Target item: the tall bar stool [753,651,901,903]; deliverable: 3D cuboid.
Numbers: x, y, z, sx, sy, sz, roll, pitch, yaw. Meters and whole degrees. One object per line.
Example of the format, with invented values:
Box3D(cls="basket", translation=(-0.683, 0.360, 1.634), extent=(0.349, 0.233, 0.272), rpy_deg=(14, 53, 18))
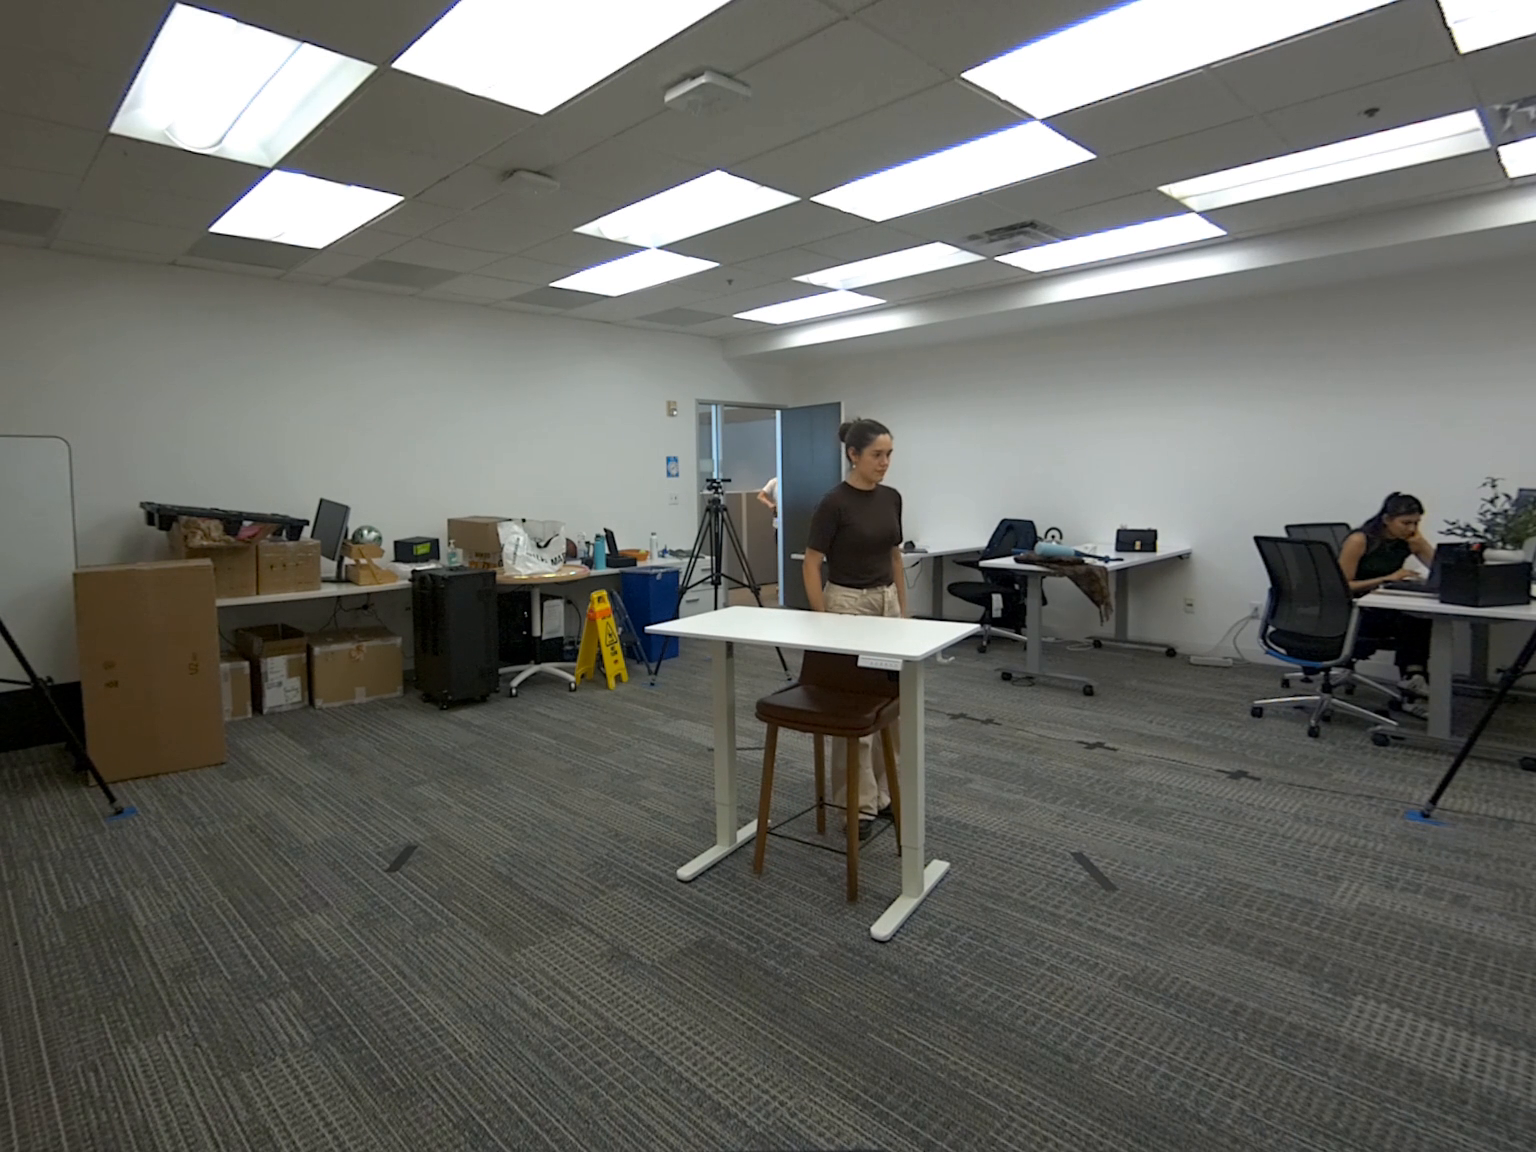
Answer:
Box3D(cls="tall bar stool", translation=(0.237, 0.611, 3.065), extent=(0.469, 0.888, 0.455), rpy_deg=(2, 3, 35))
